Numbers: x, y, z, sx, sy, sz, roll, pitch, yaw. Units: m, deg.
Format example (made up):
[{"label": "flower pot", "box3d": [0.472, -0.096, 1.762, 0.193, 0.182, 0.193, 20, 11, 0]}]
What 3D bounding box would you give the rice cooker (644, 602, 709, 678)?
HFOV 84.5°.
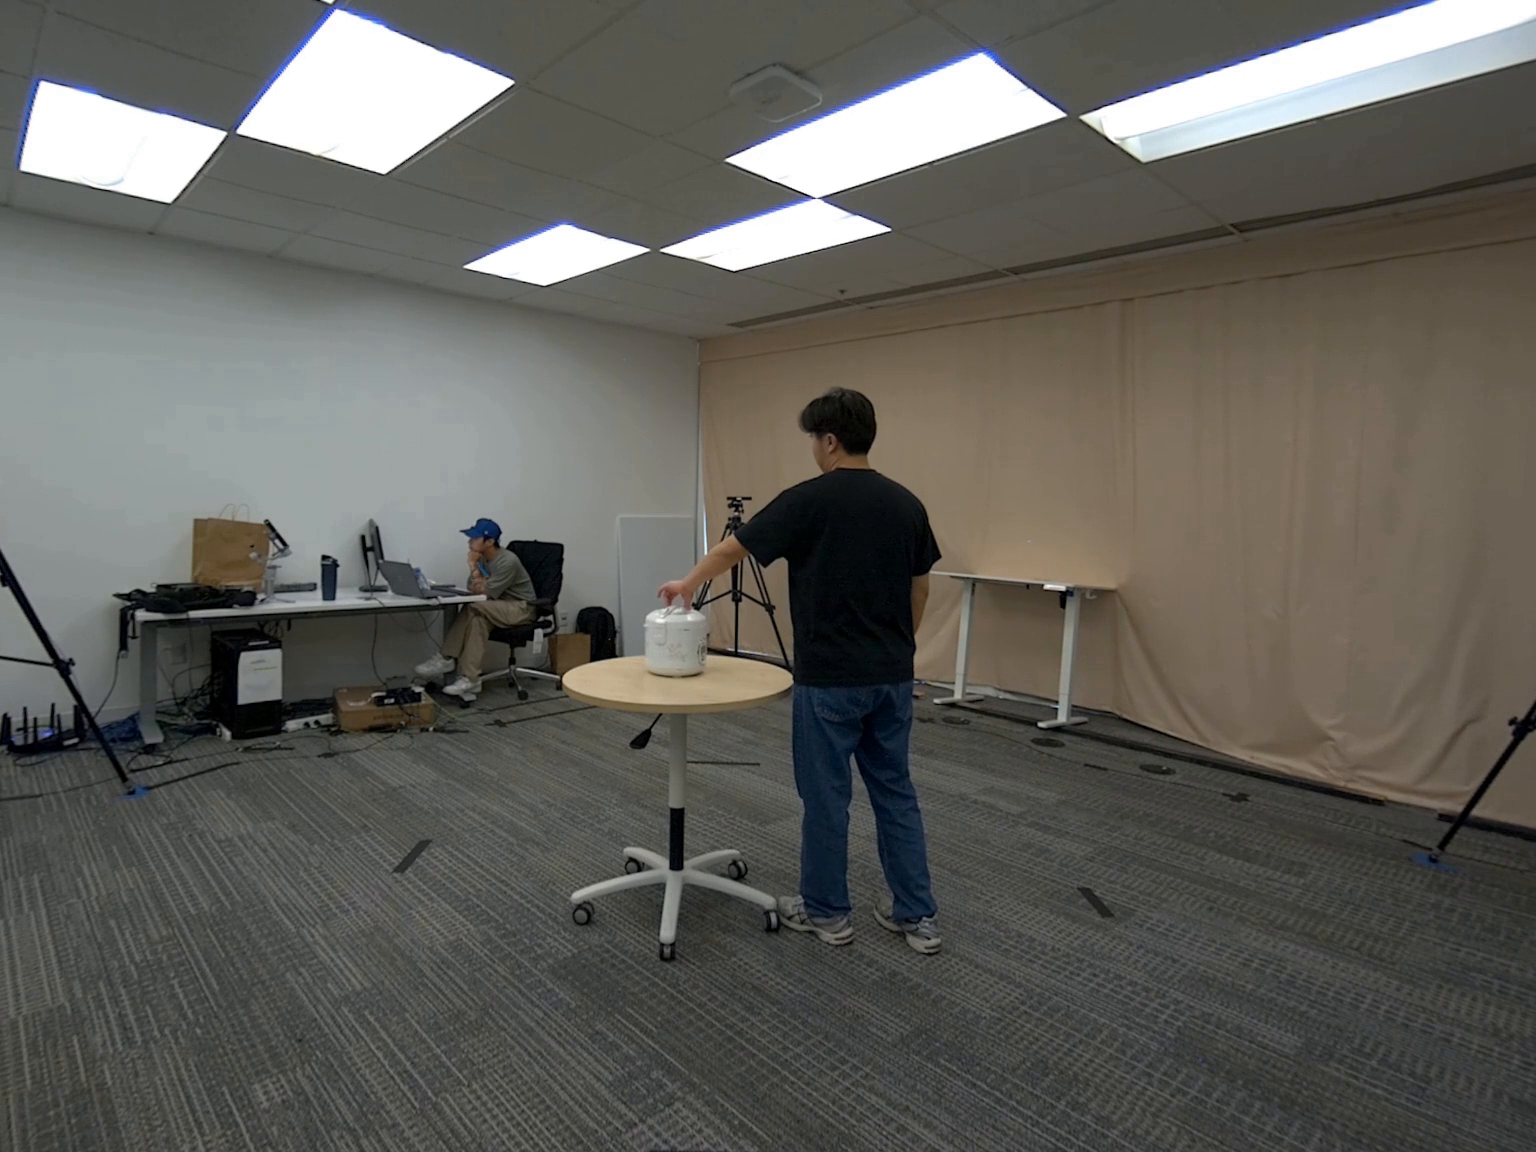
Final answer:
[{"label": "rice cooker", "box3d": [-0.317, 0.214, 2.865, 0.221, 0.232, 0.217, 2, 4, 26]}]
